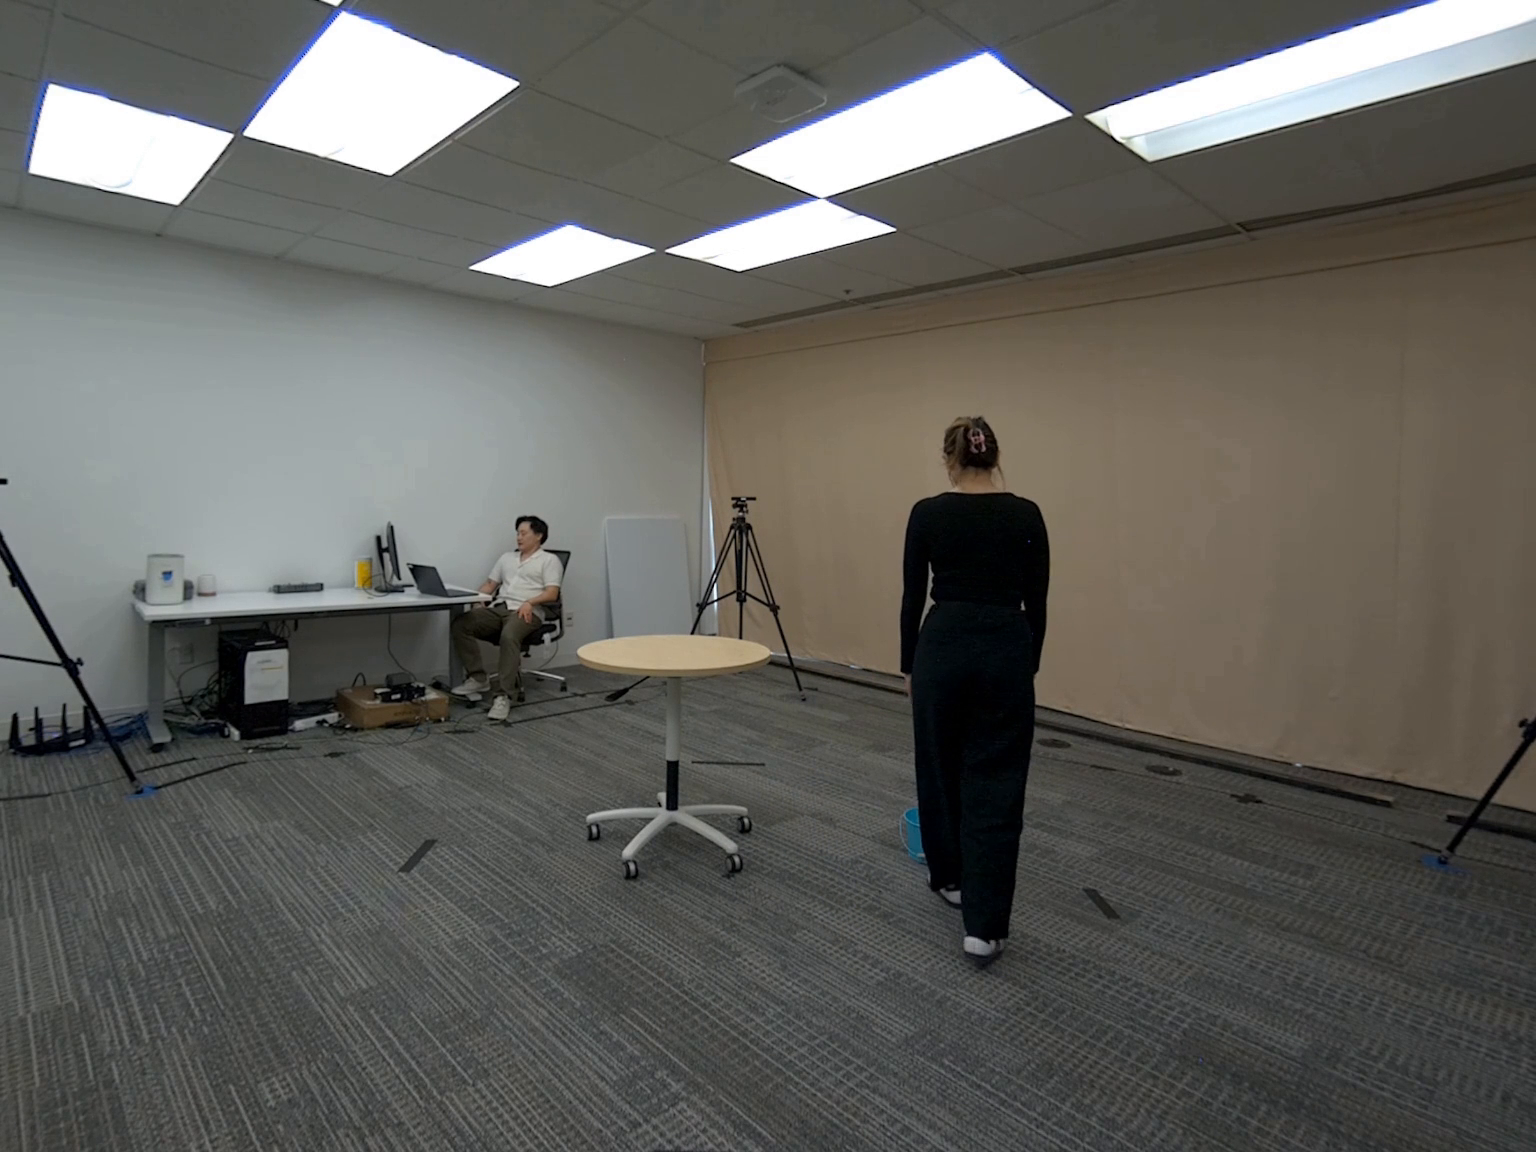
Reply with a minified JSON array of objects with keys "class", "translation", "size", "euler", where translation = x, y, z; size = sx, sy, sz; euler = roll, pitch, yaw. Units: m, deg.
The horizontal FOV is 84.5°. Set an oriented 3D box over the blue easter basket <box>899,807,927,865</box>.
[{"class":"blue easter basket","translation":[0.643,1.034,3.324],"size":[0.243,0.155,0.244],"euler":[2,4,-1]}]
